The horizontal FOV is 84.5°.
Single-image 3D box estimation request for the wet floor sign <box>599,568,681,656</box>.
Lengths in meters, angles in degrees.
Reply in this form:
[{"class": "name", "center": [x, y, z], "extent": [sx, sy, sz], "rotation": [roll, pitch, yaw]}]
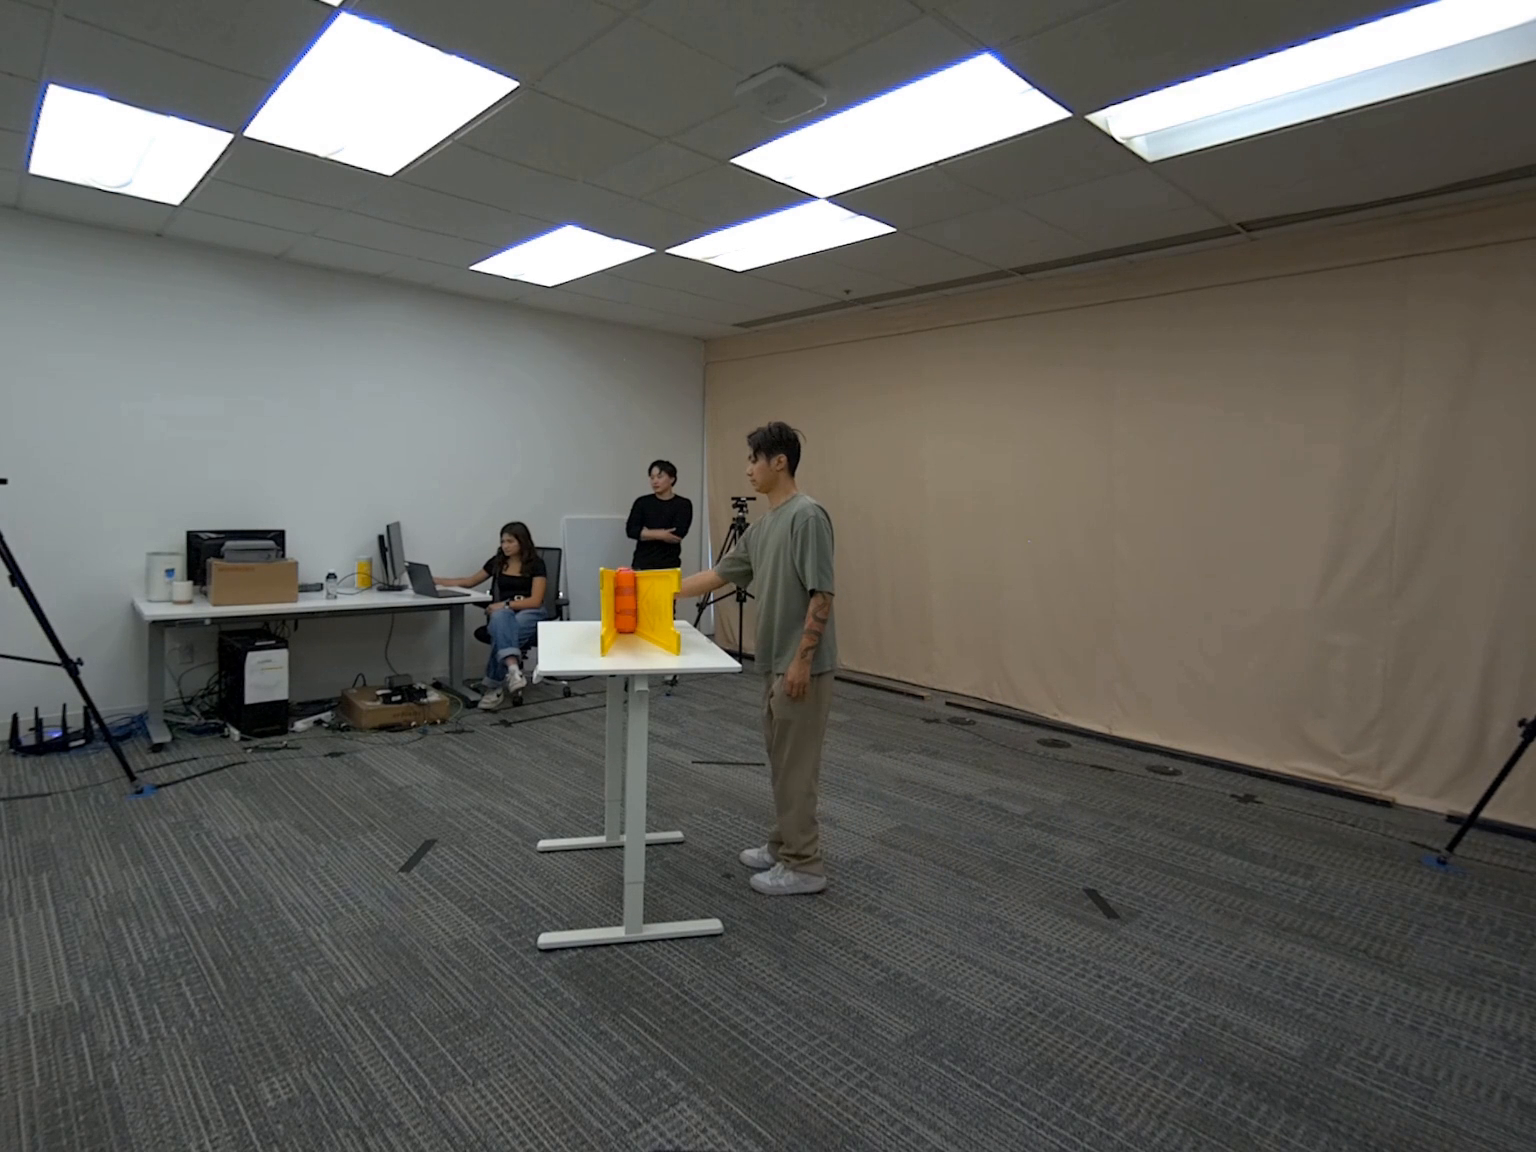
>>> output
[{"class": "wet floor sign", "center": [-0.498, 0.105, 2.991], "extent": [0.286, 0.282, 0.654], "rotation": [0, 2, -15]}]
